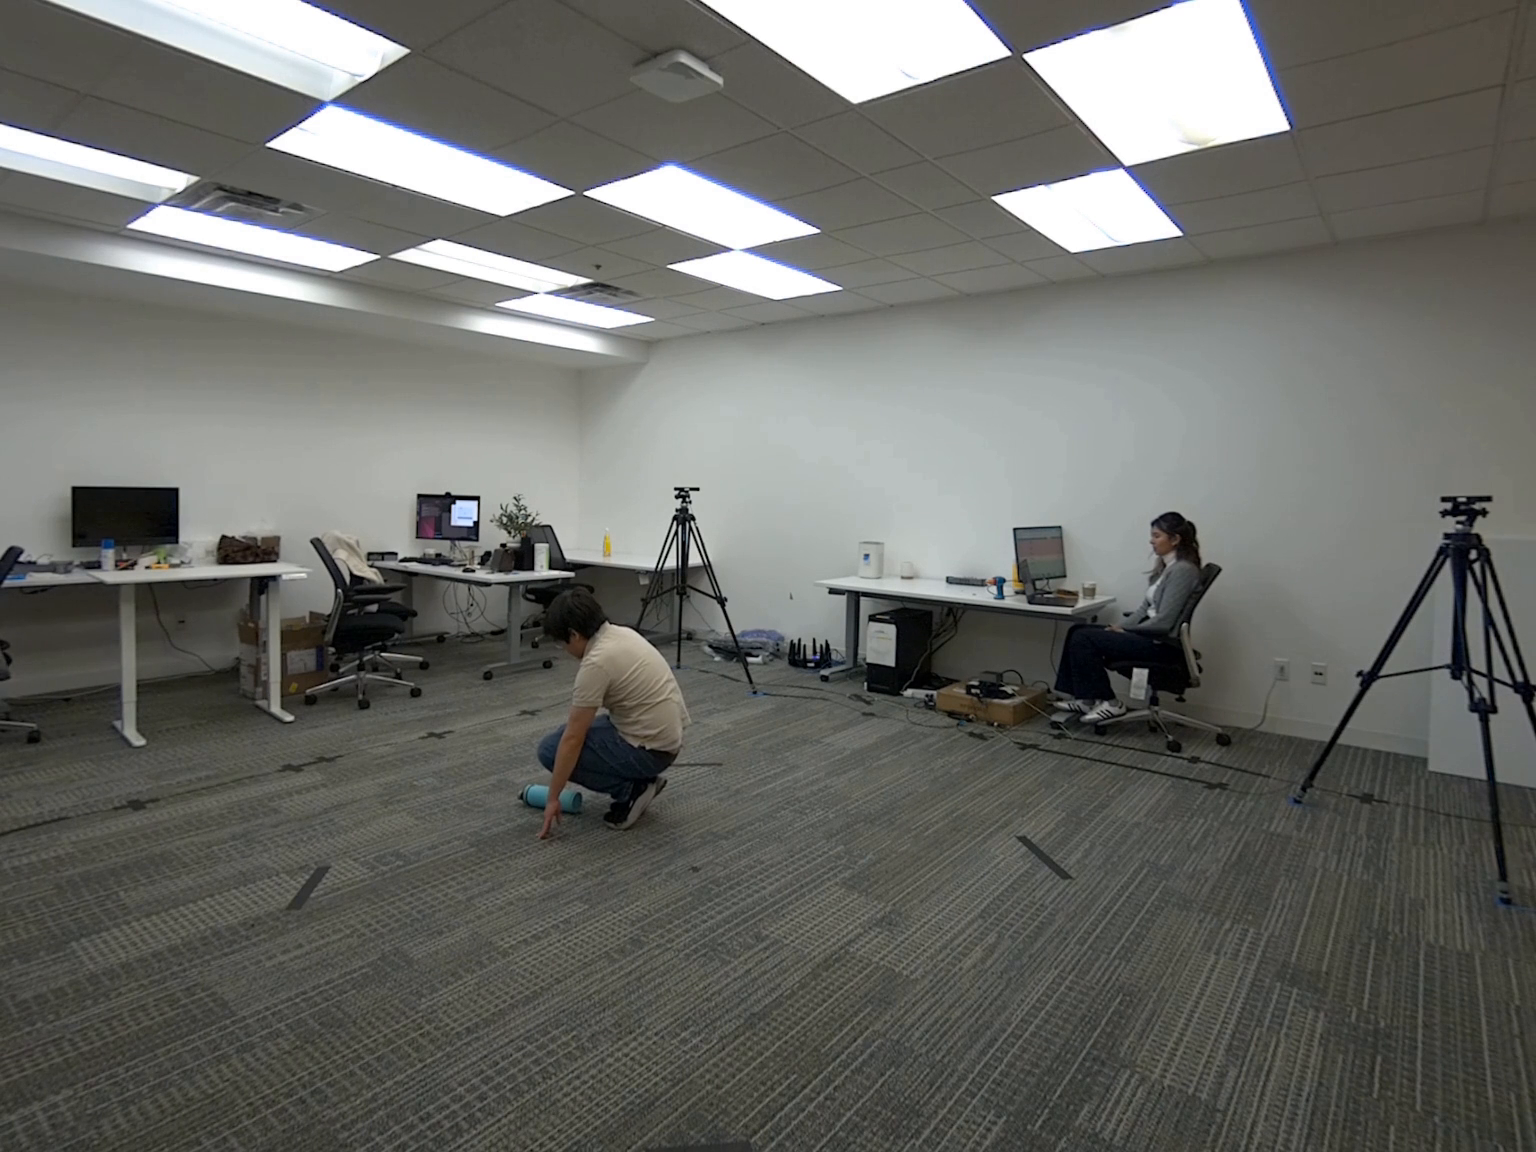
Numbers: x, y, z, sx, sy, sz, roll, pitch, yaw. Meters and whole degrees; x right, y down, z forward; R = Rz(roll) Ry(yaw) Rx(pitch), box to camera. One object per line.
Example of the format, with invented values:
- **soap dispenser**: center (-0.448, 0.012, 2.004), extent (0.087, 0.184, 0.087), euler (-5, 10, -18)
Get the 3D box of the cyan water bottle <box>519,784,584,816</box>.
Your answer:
- **cyan water bottle**: center (-0.962, 0.956, 3.682), extent (0.290, 0.092, 0.090), euler (2, 4, 22)
